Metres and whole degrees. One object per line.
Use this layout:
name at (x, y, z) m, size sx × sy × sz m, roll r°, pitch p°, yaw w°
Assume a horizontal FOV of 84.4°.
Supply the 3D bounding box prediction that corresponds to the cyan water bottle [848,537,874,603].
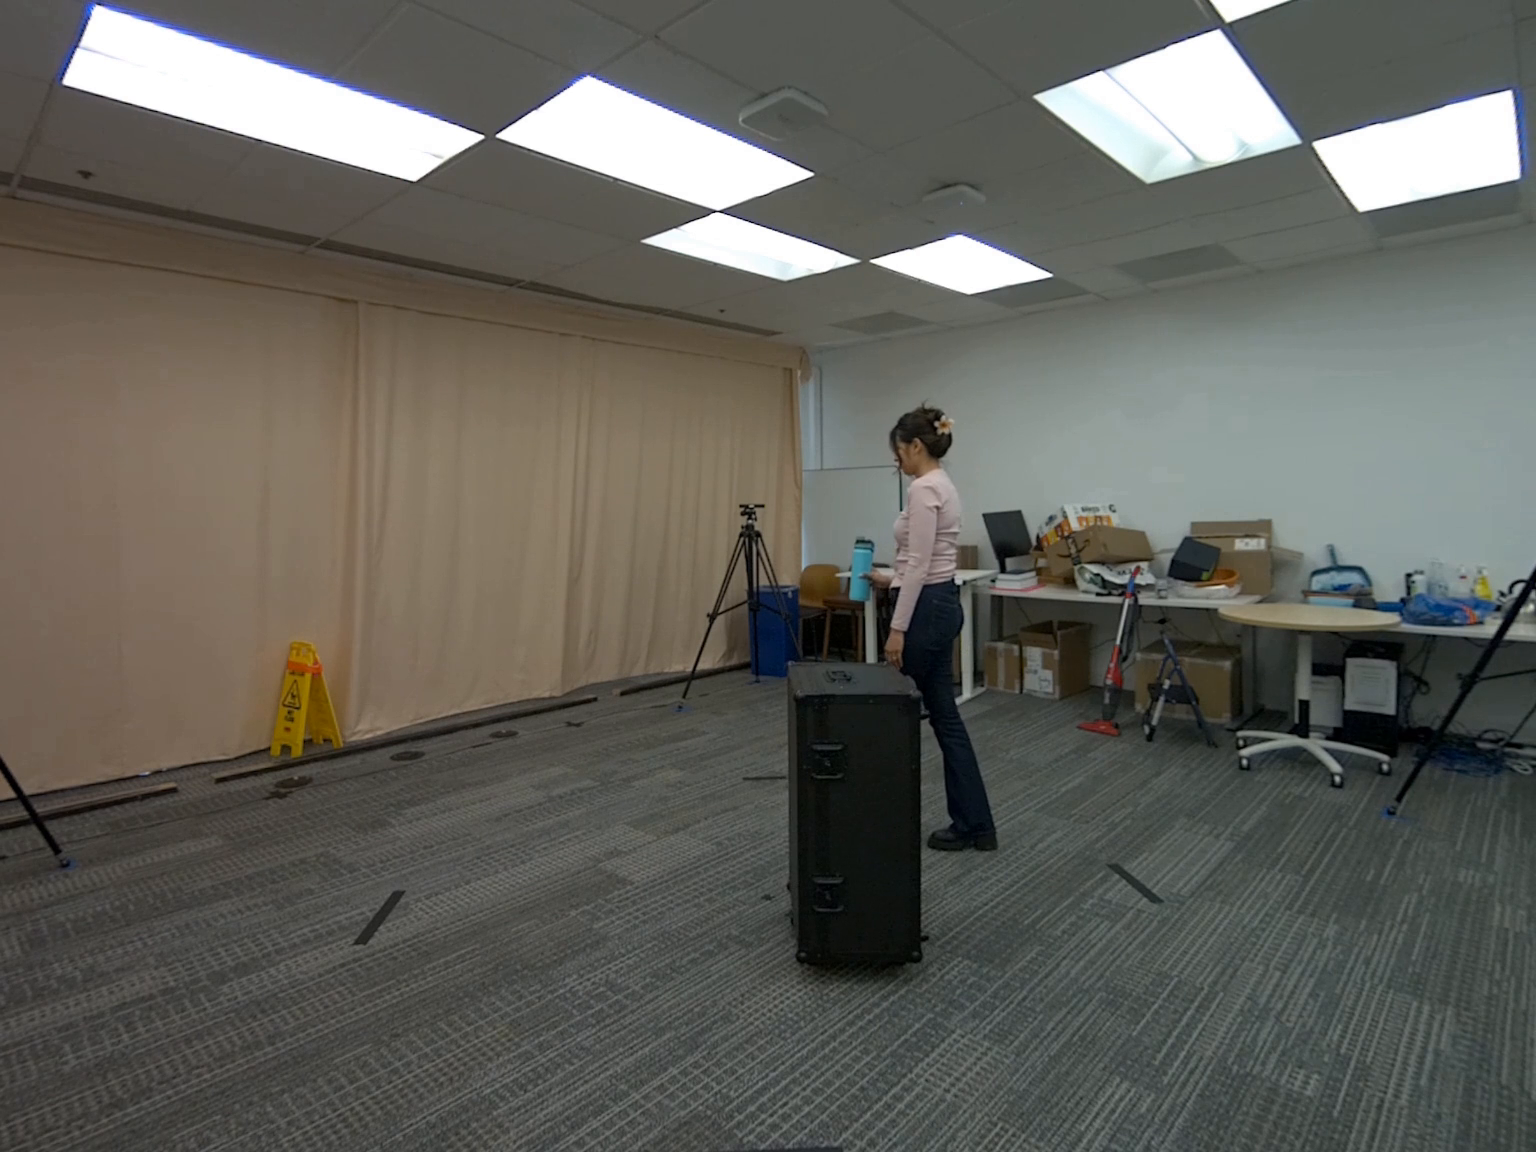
cyan water bottle at (0.418, -0.035, 3.742) m, size 0.092 × 0.283 × 0.092 m, roll 5°, pitch 0°, yaw -2°
